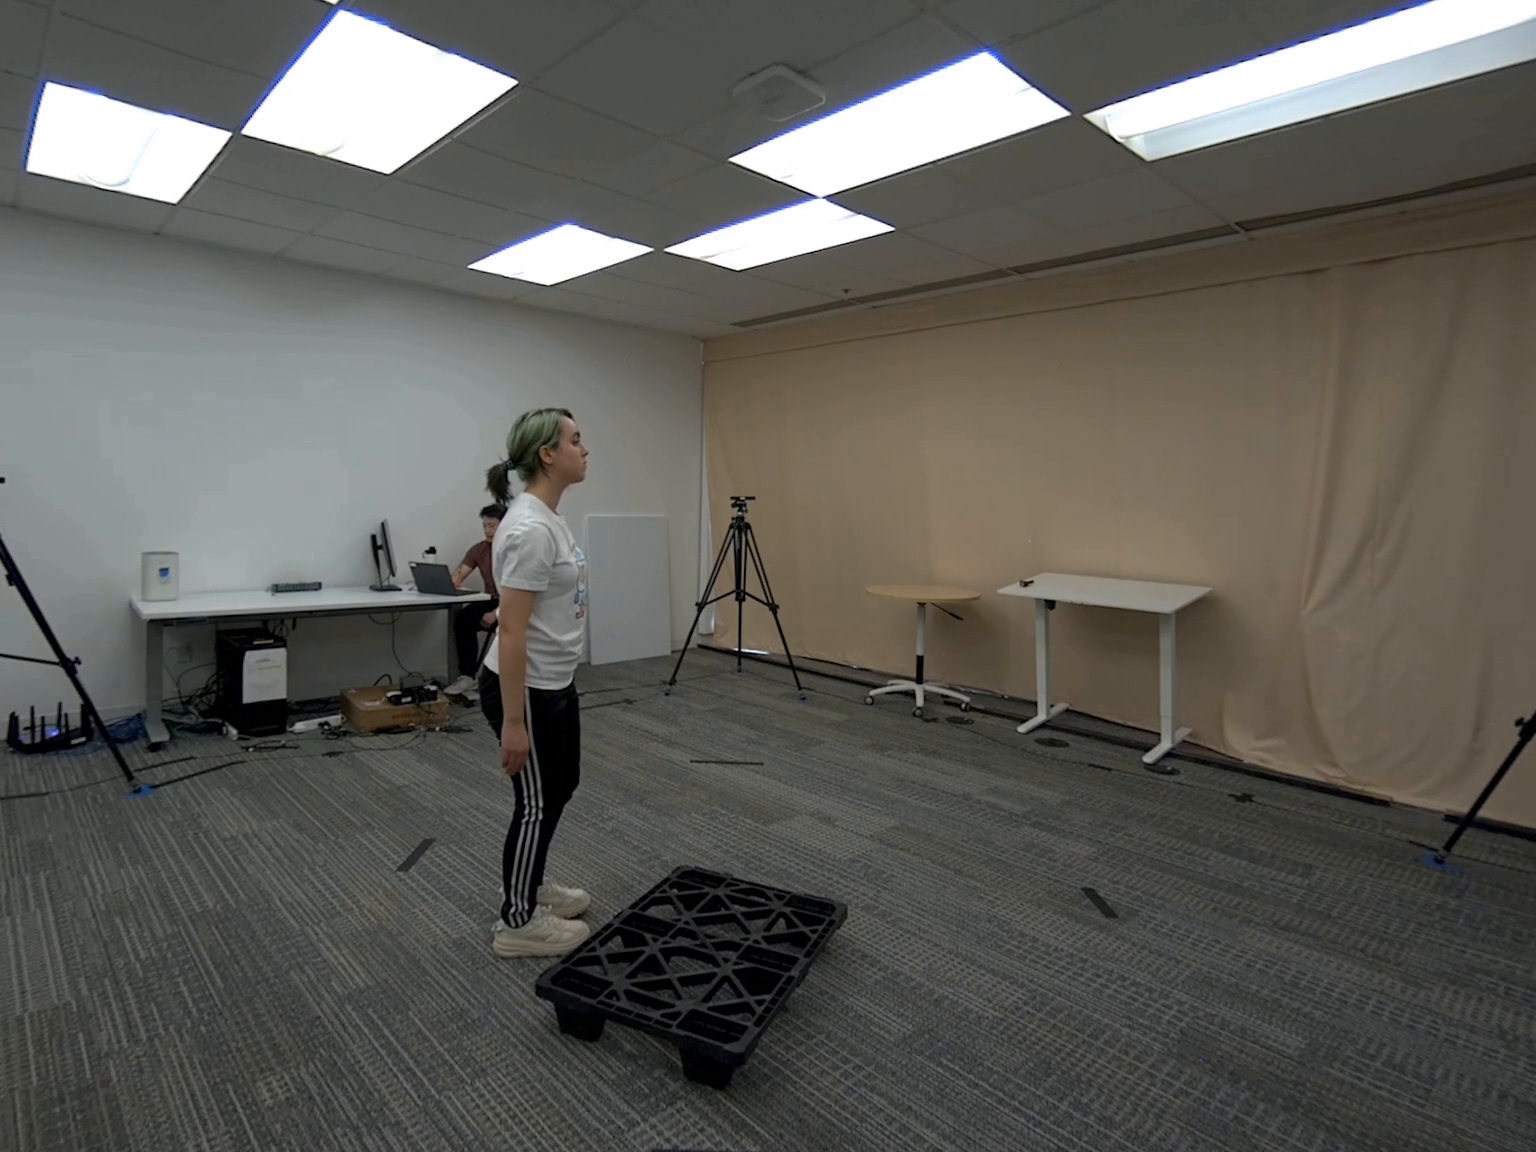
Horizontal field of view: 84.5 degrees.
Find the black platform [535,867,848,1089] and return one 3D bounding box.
[{"bbox_3d":[-0.191,1.099,2.397,0.617,0.143,0.792,3,5,24],"label":"black platform"}]
